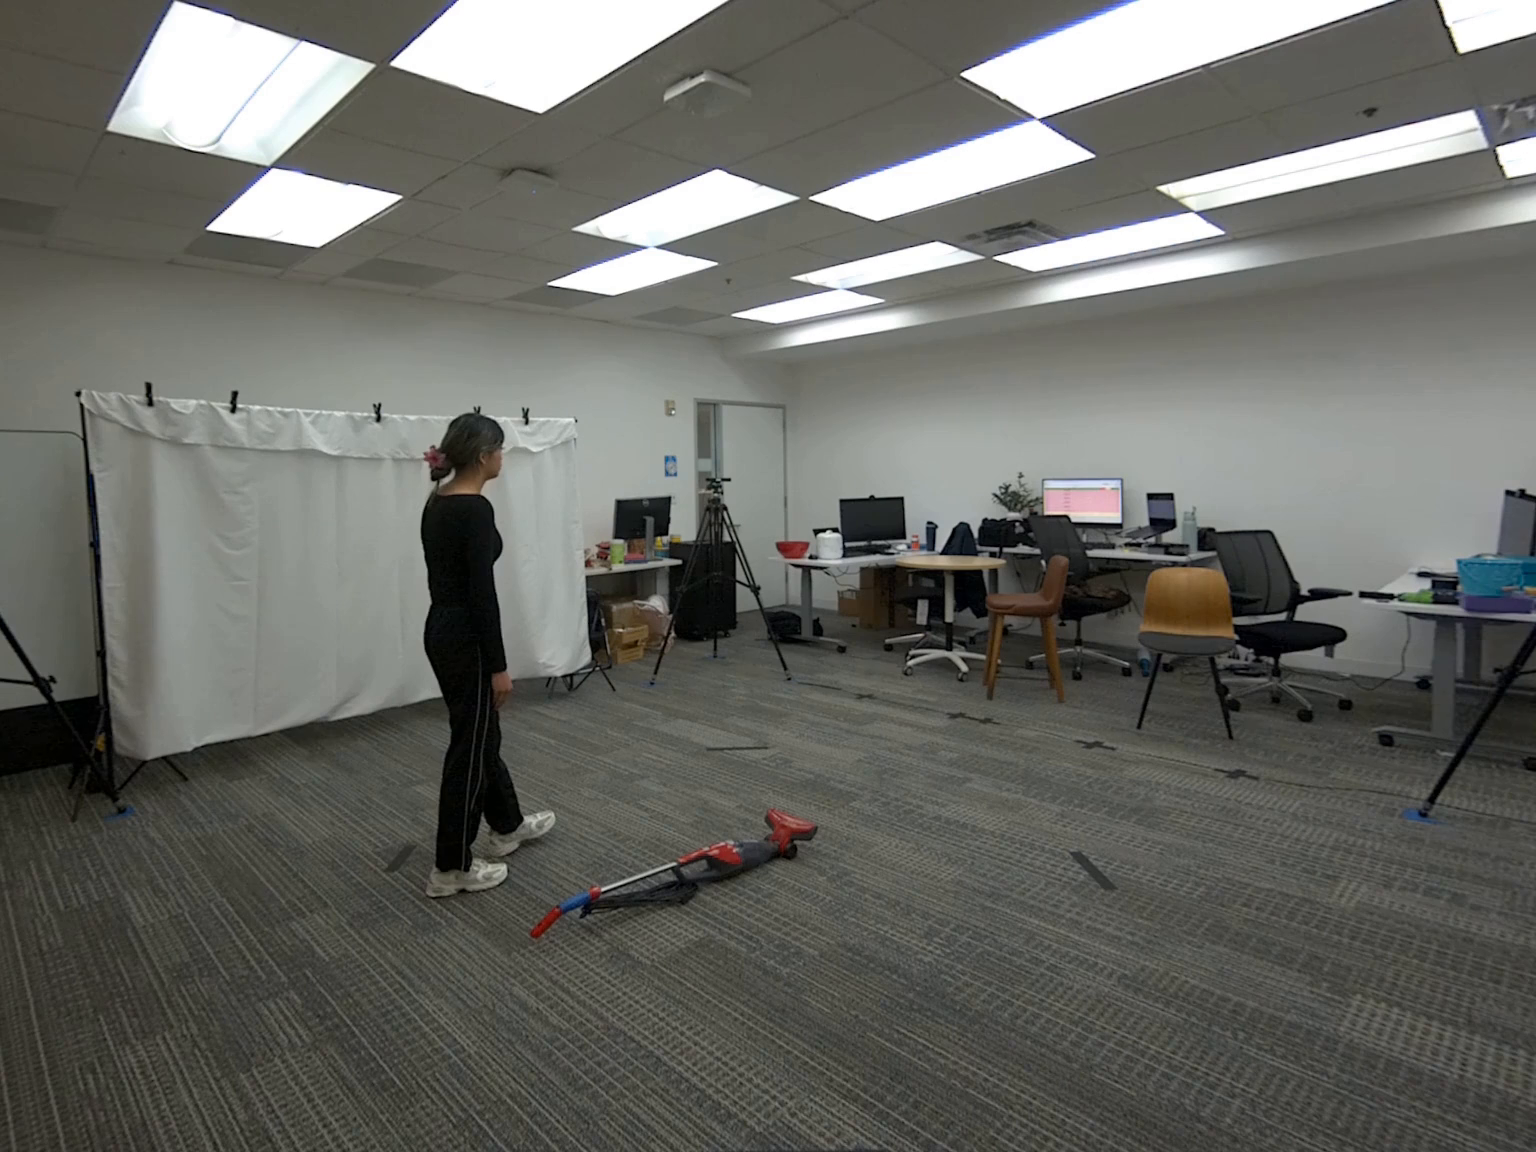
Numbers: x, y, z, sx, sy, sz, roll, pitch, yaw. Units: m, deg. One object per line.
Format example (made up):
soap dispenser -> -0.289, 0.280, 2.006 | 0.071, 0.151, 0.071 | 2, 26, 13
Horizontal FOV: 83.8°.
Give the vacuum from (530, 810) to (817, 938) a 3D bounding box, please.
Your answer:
vacuum -> -0.308, 1.015, 2.870 | 1.023, 0.143, 0.260 | -8, 8, -41
